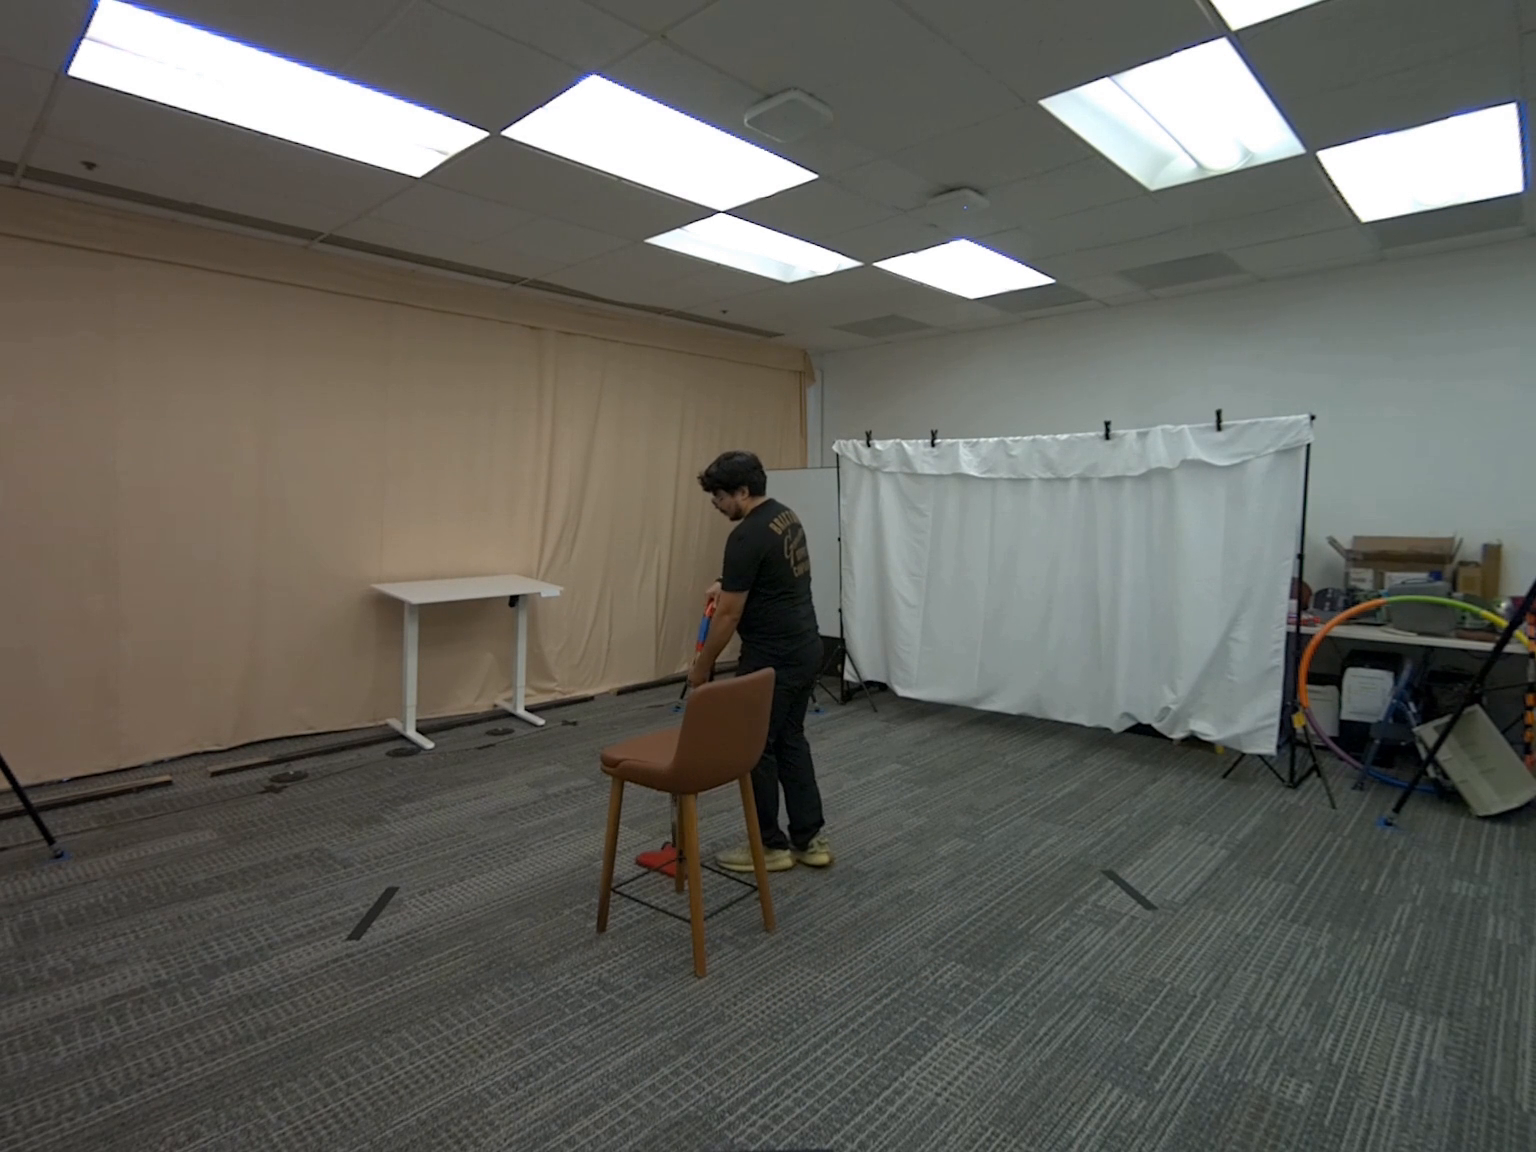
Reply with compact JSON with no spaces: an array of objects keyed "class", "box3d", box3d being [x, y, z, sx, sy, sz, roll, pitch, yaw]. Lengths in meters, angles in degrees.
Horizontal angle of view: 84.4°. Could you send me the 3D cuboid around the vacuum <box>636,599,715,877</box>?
[{"class":"vacuum","box3d":[-0.291,0.606,3.326,0.261,1.052,0.139,3,-9,43]}]
